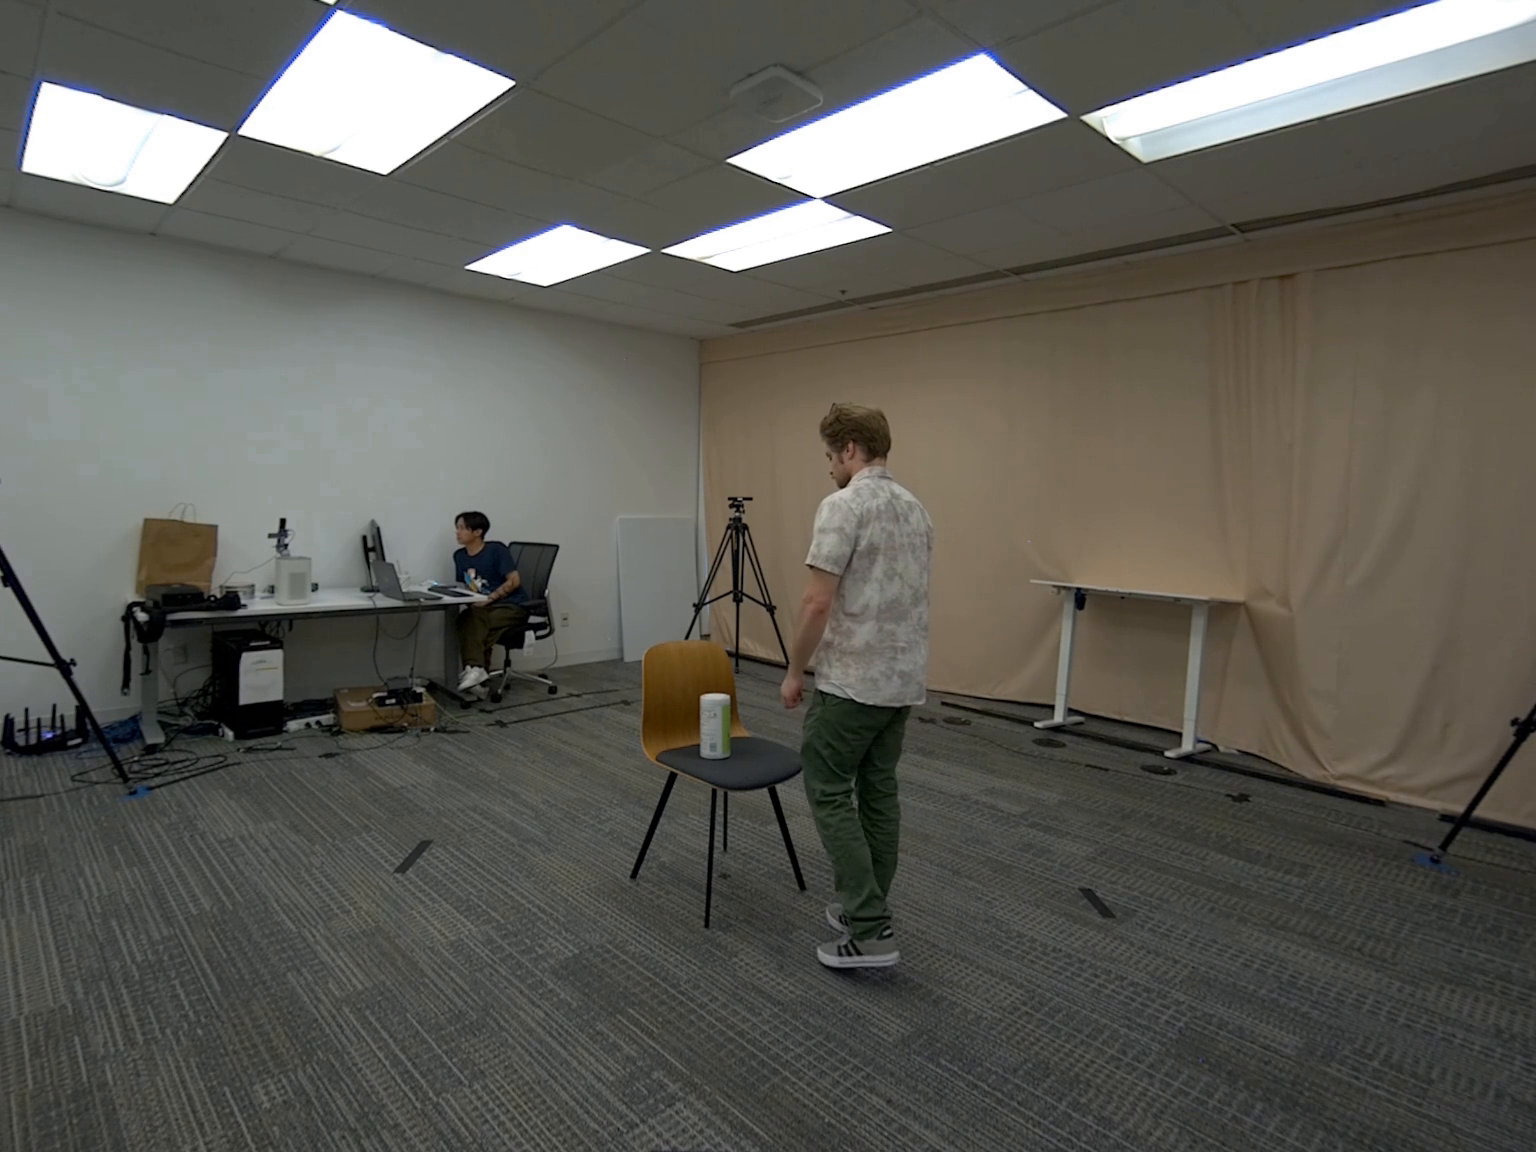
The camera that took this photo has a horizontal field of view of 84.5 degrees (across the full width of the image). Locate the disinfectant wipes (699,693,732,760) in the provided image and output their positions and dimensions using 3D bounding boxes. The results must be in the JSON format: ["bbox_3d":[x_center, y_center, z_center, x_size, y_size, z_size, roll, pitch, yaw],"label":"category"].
[{"bbox_3d":[-0.205,0.538,3.004,0.118,0.217,0.118,1,-1,-1],"label":"disinfectant wipes"}]
